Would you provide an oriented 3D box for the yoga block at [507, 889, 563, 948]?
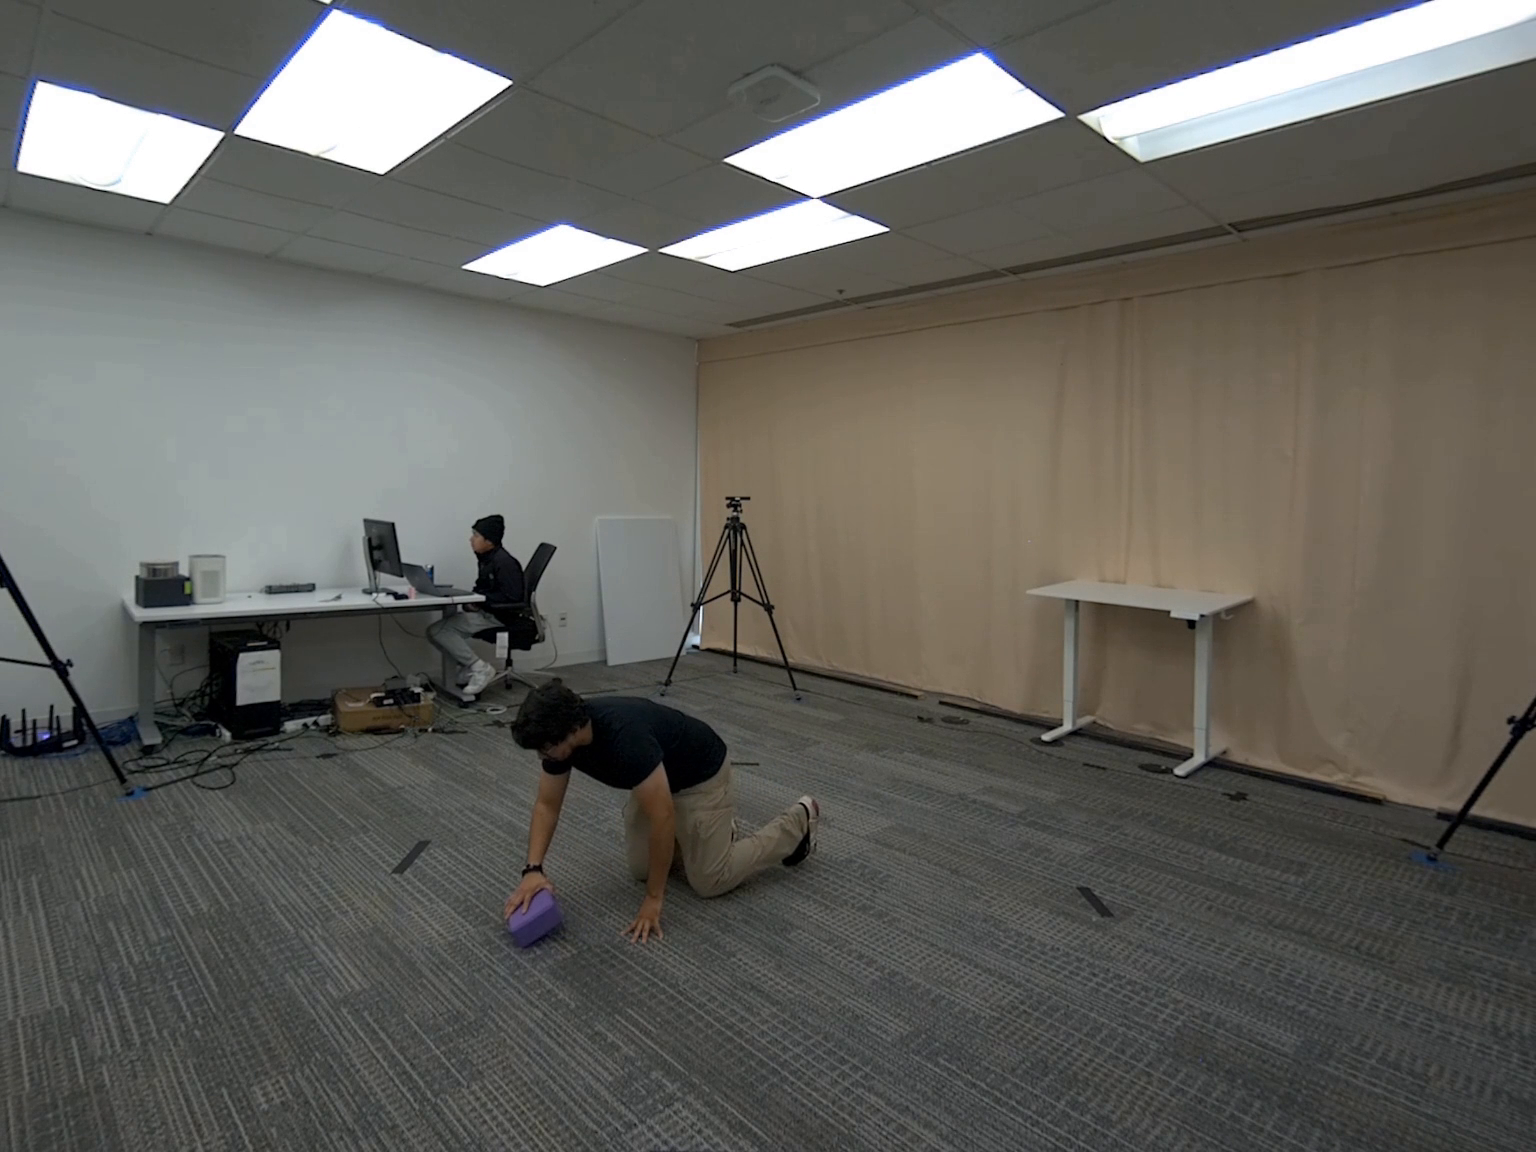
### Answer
[{"bbox_3d":[-0.760,1.075,2.686,0.148,0.075,0.233,-28,14,-18],"label":"yoga block"}]
